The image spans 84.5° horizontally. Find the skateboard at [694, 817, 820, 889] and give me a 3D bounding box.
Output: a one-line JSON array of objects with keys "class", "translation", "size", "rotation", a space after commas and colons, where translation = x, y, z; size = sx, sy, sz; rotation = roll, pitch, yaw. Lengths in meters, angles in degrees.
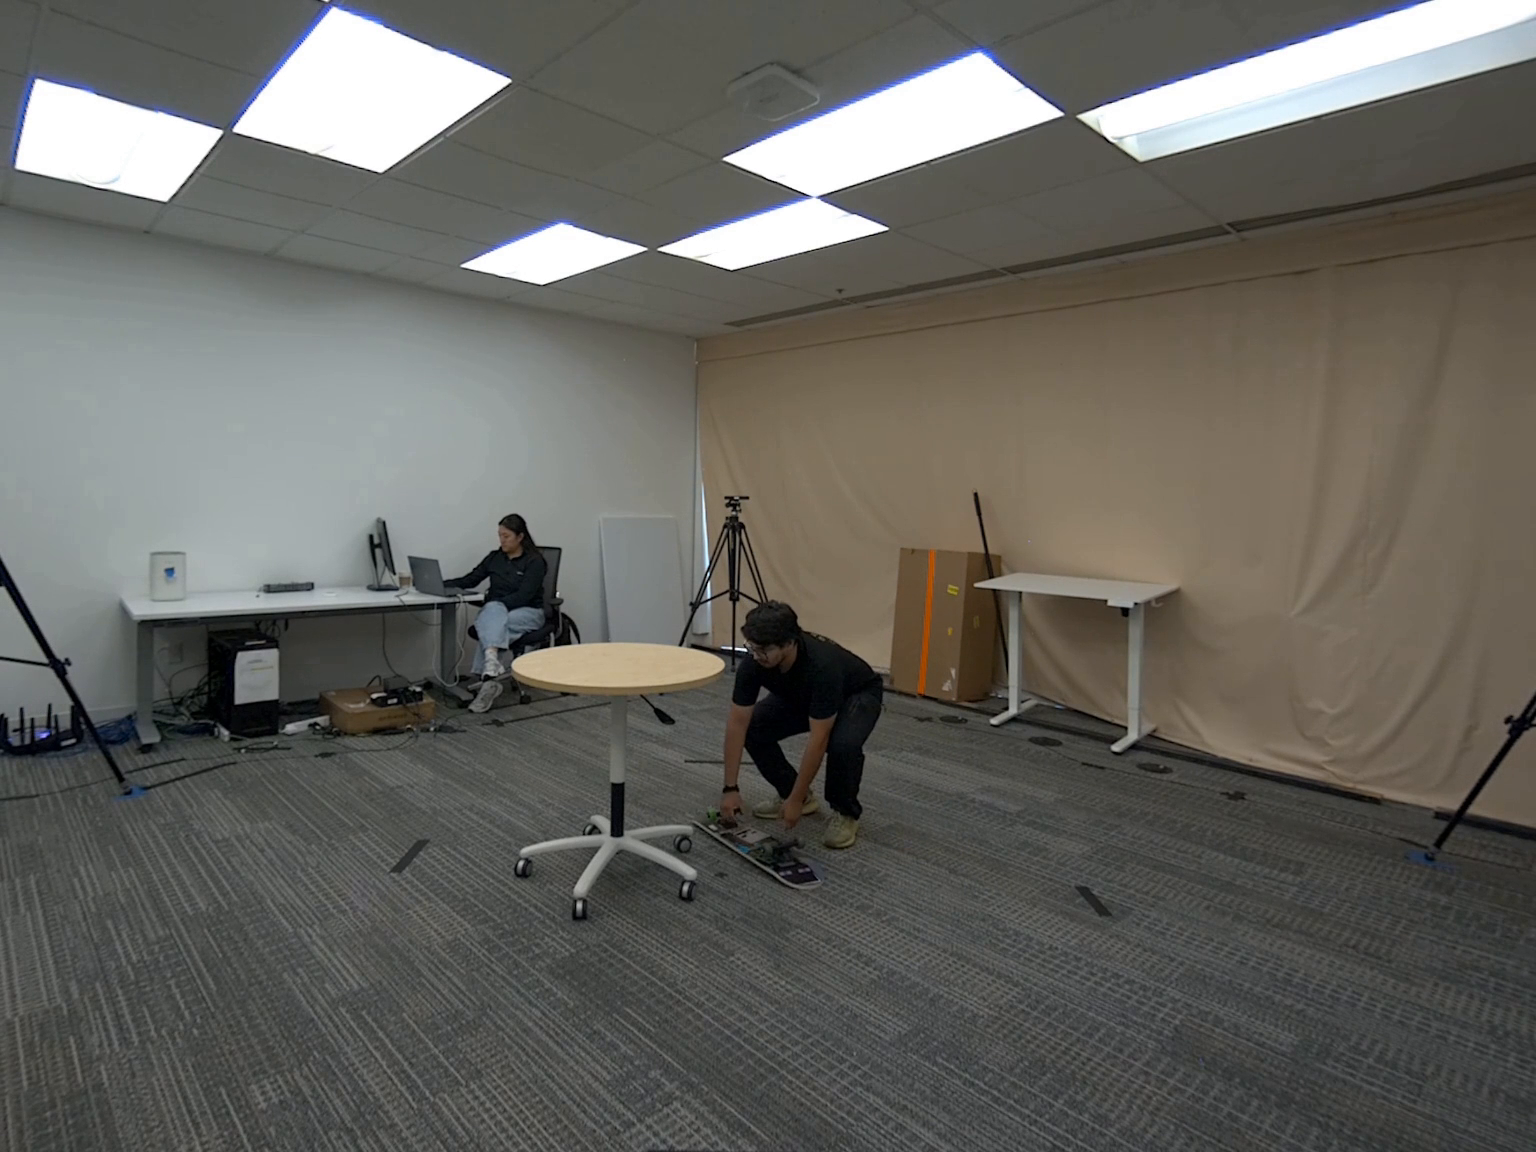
[{"class": "skateboard", "translation": [-0.065, 1.032, 3.345], "size": [0.189, 0.110, 0.804], "rotation": [0, 5, -34]}]
